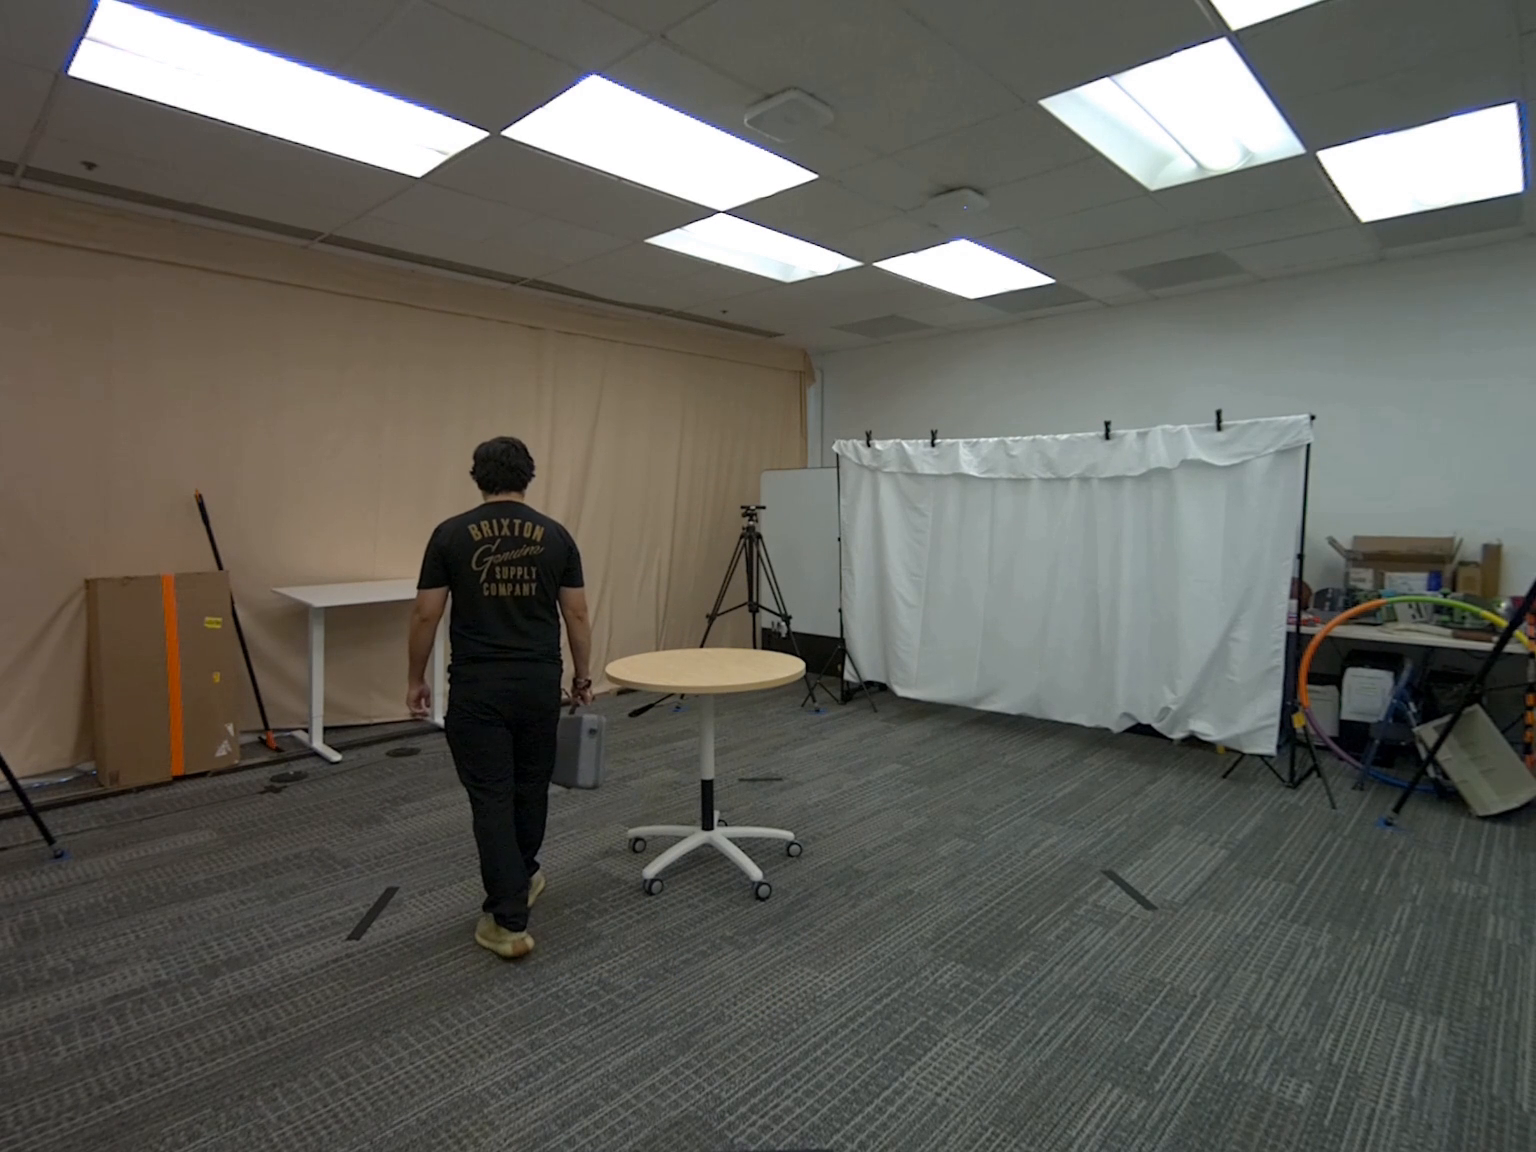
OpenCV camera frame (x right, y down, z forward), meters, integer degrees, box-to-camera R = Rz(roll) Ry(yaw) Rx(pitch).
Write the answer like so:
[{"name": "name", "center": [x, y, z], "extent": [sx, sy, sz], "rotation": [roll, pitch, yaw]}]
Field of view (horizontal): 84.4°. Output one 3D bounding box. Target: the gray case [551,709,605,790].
[{"name": "gray case", "center": [-0.667, 0.613, 2.977], "extent": [0.101, 0.262, 0.262], "rotation": [11, -14, -29]}]
